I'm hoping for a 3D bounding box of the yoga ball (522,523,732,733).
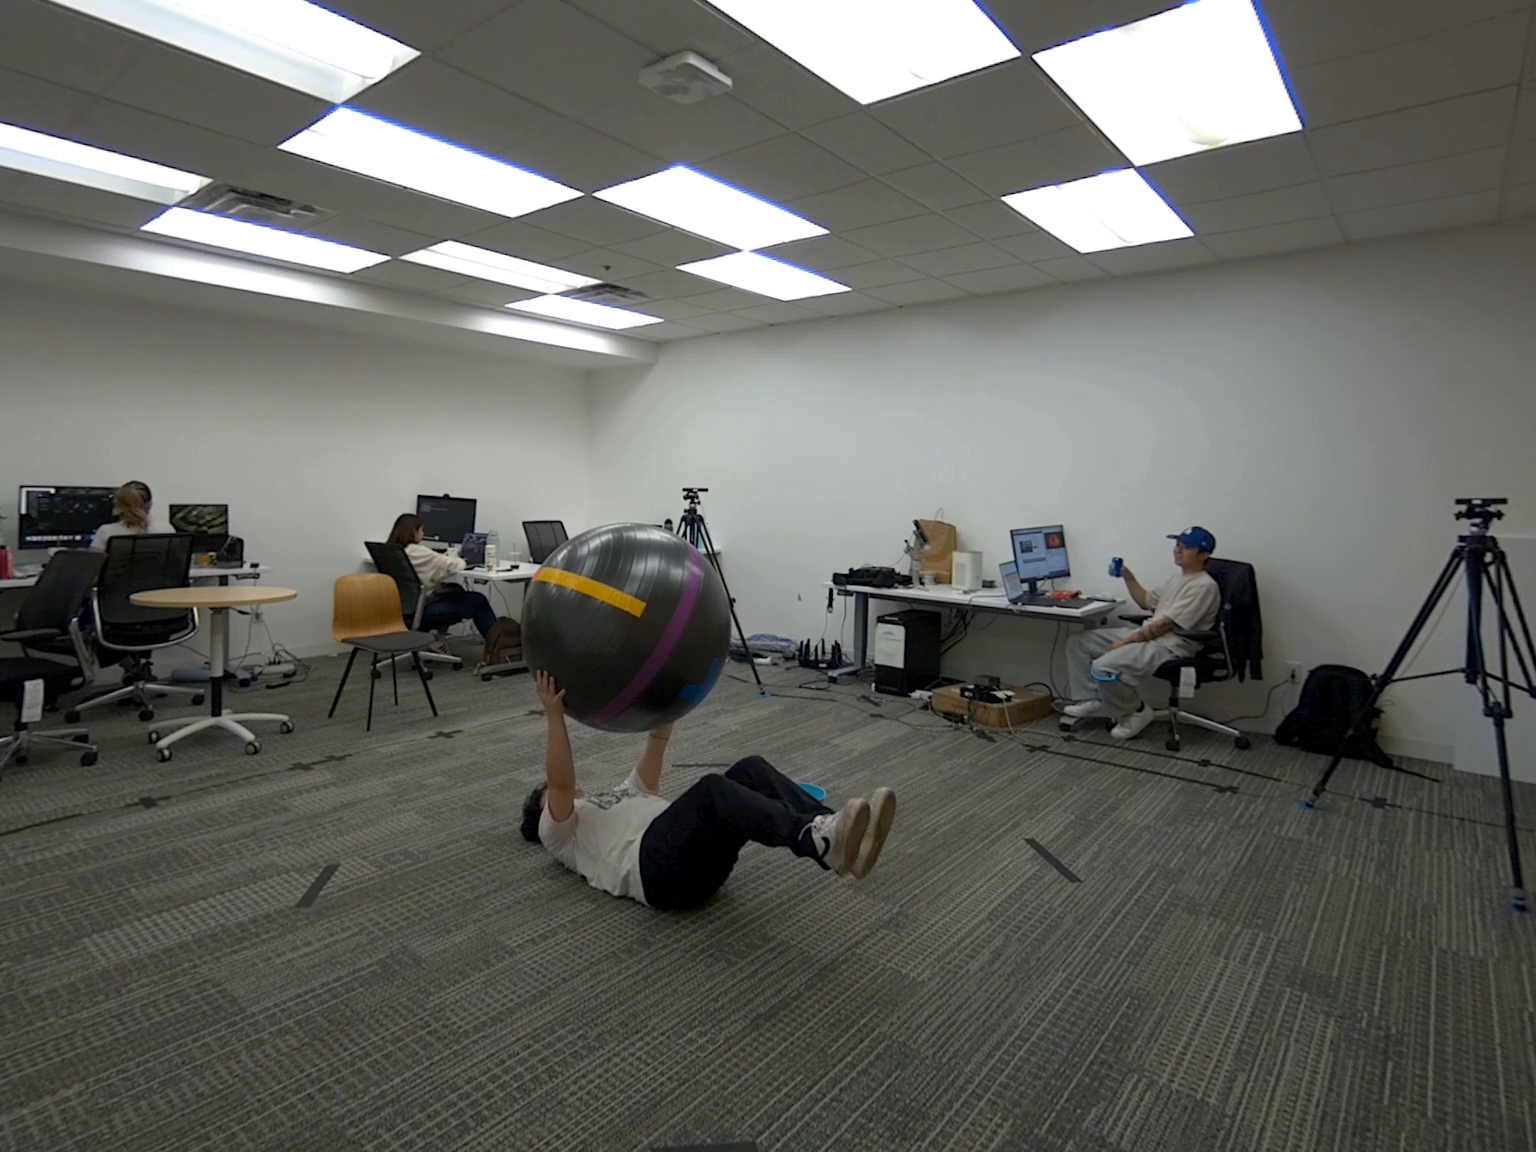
[{"bbox_3d":[-0.522,0.189,3.089,0.757,0.756,0.761,1,4,-2],"label":"yoga ball"}]
